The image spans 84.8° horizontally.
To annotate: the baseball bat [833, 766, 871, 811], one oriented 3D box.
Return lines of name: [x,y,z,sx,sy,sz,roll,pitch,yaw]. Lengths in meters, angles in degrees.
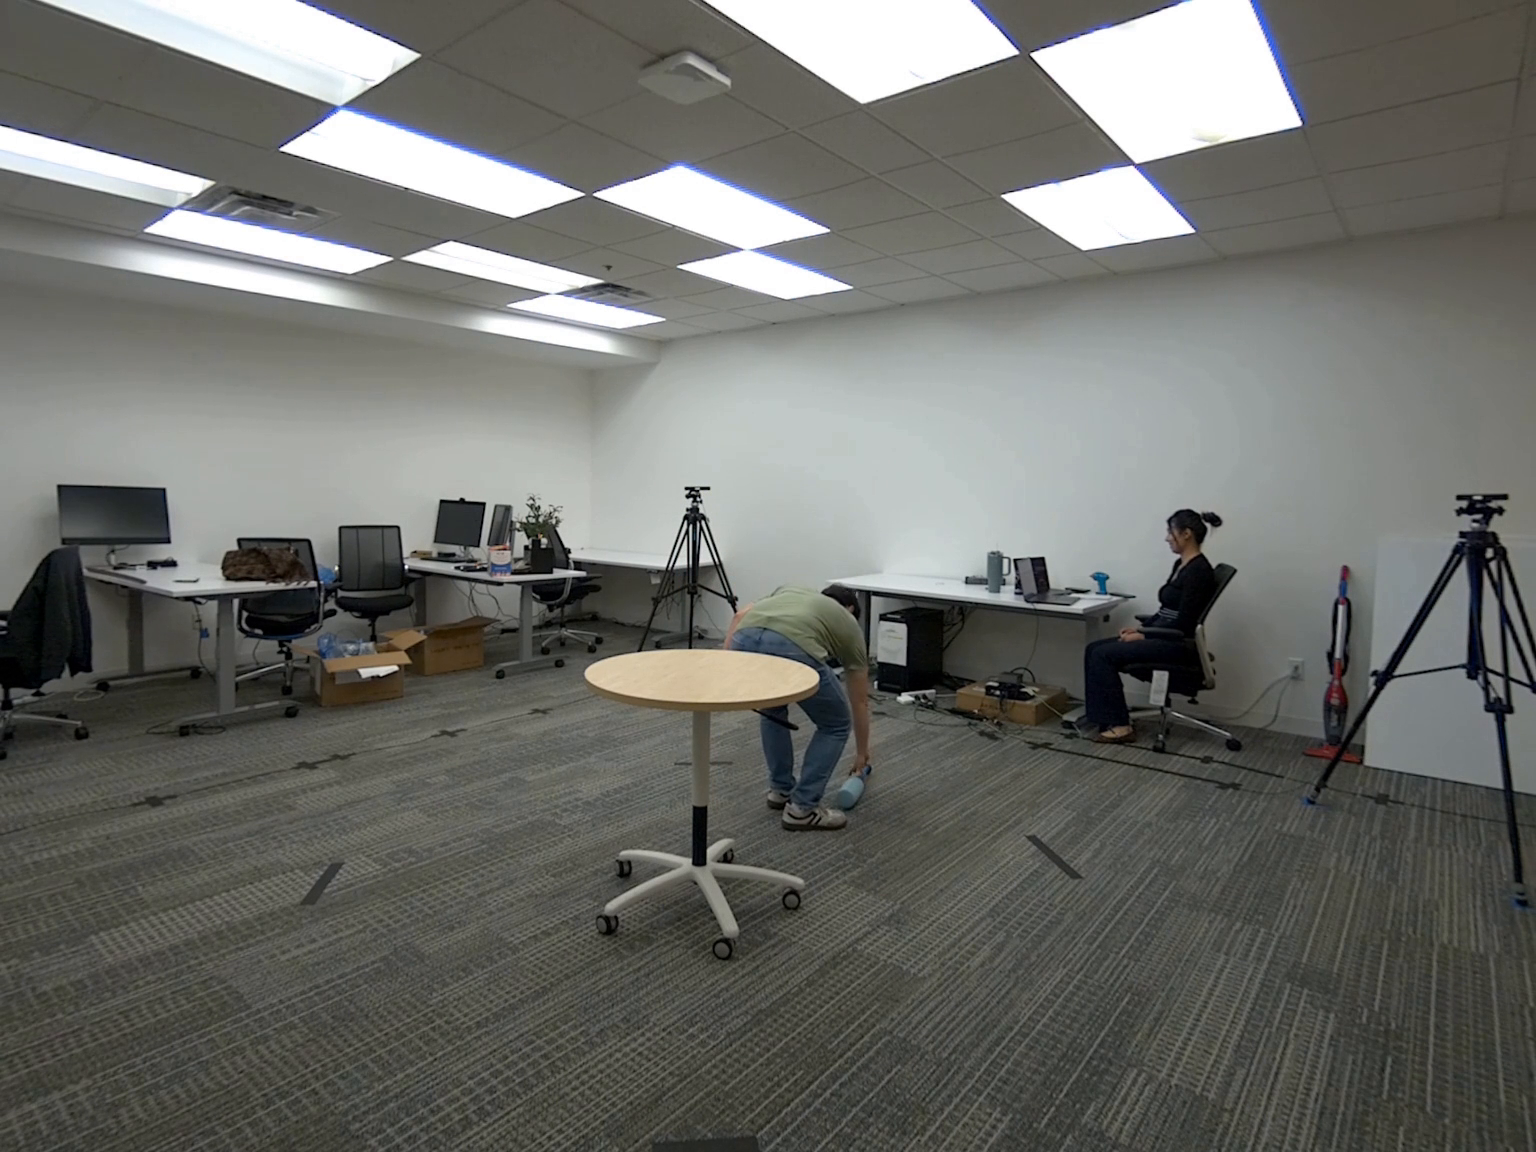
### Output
baseball bat: [0.404,0.956,3.941,0.091,0.089,0.532,2,3,18]
